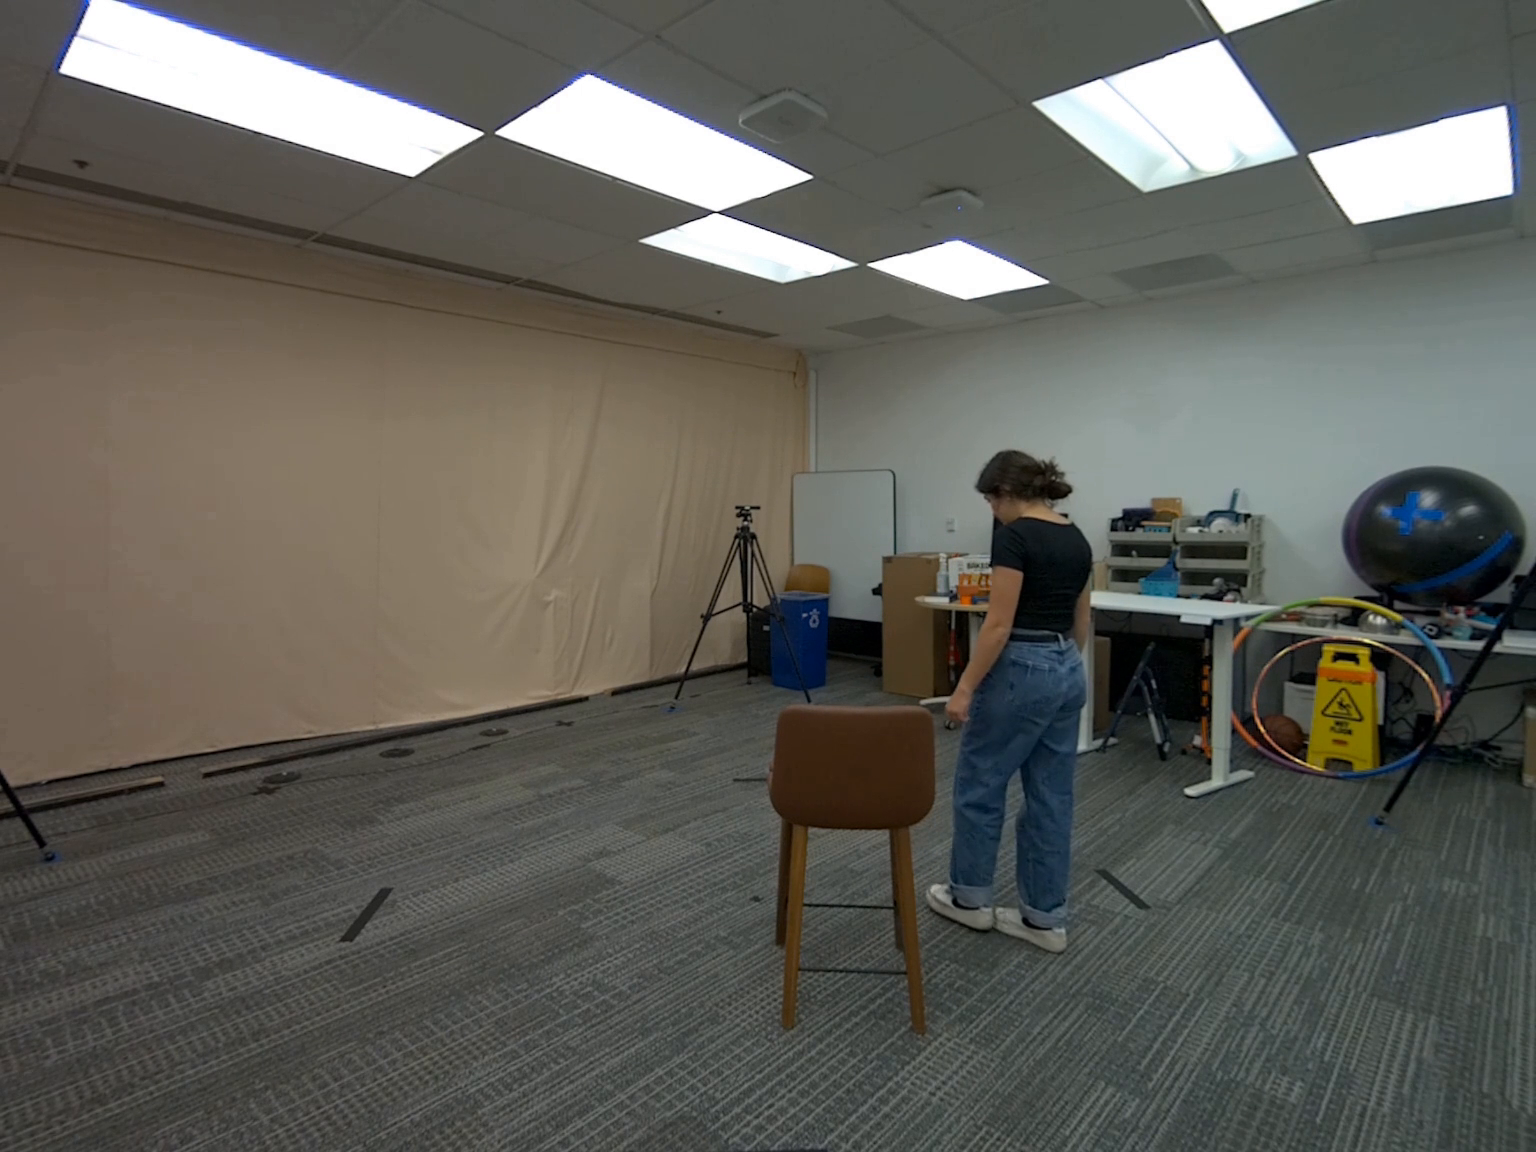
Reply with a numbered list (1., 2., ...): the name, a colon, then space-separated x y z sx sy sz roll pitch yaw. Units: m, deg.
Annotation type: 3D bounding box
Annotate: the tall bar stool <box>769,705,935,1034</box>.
1. tall bar stool: 0.233 0.754 2.422 0.458 0.887 0.467 0 5 2
